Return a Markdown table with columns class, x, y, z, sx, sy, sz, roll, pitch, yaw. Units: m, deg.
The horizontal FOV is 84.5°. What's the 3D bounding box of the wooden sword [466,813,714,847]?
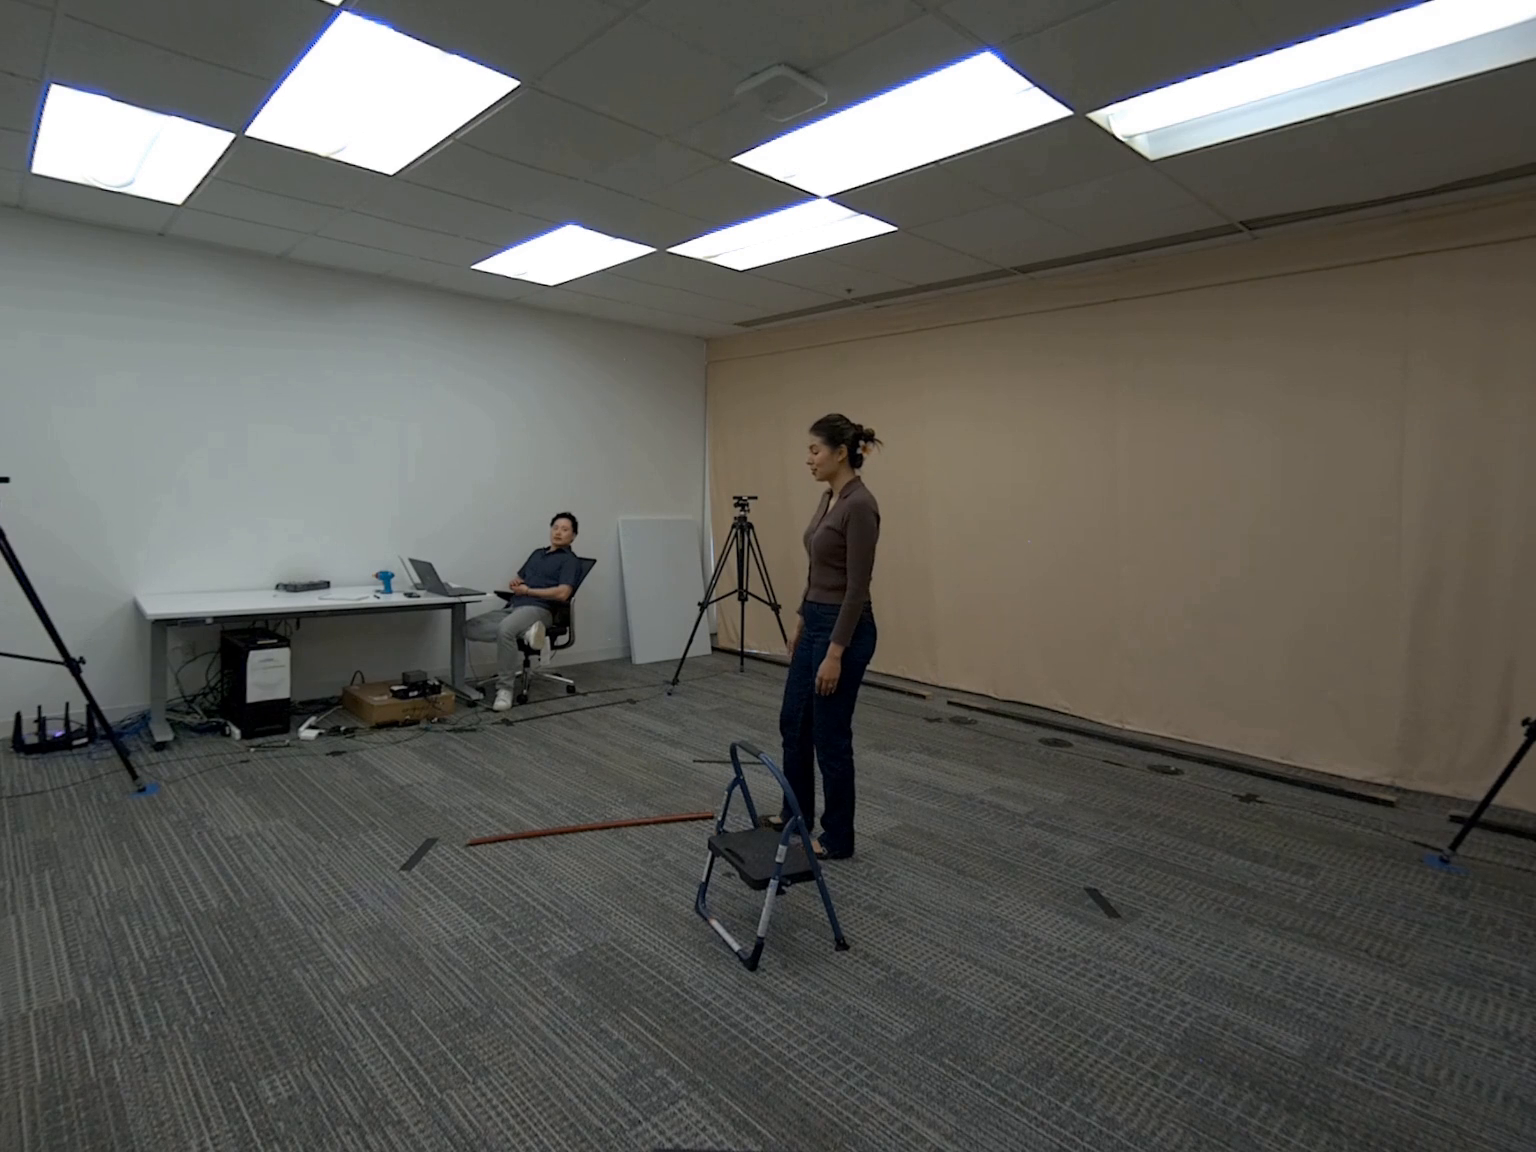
| class | x | y | z | sx | sy | sz | roll | pitch | yaw |
| --- | --- | --- | --- | --- | --- | --- | --- | --- | --- |
| wooden sword | -0.712 | 1.032 | 3.486 | 1.010 | 0.024 | 0.052 | -1 | -7 | -20 |
